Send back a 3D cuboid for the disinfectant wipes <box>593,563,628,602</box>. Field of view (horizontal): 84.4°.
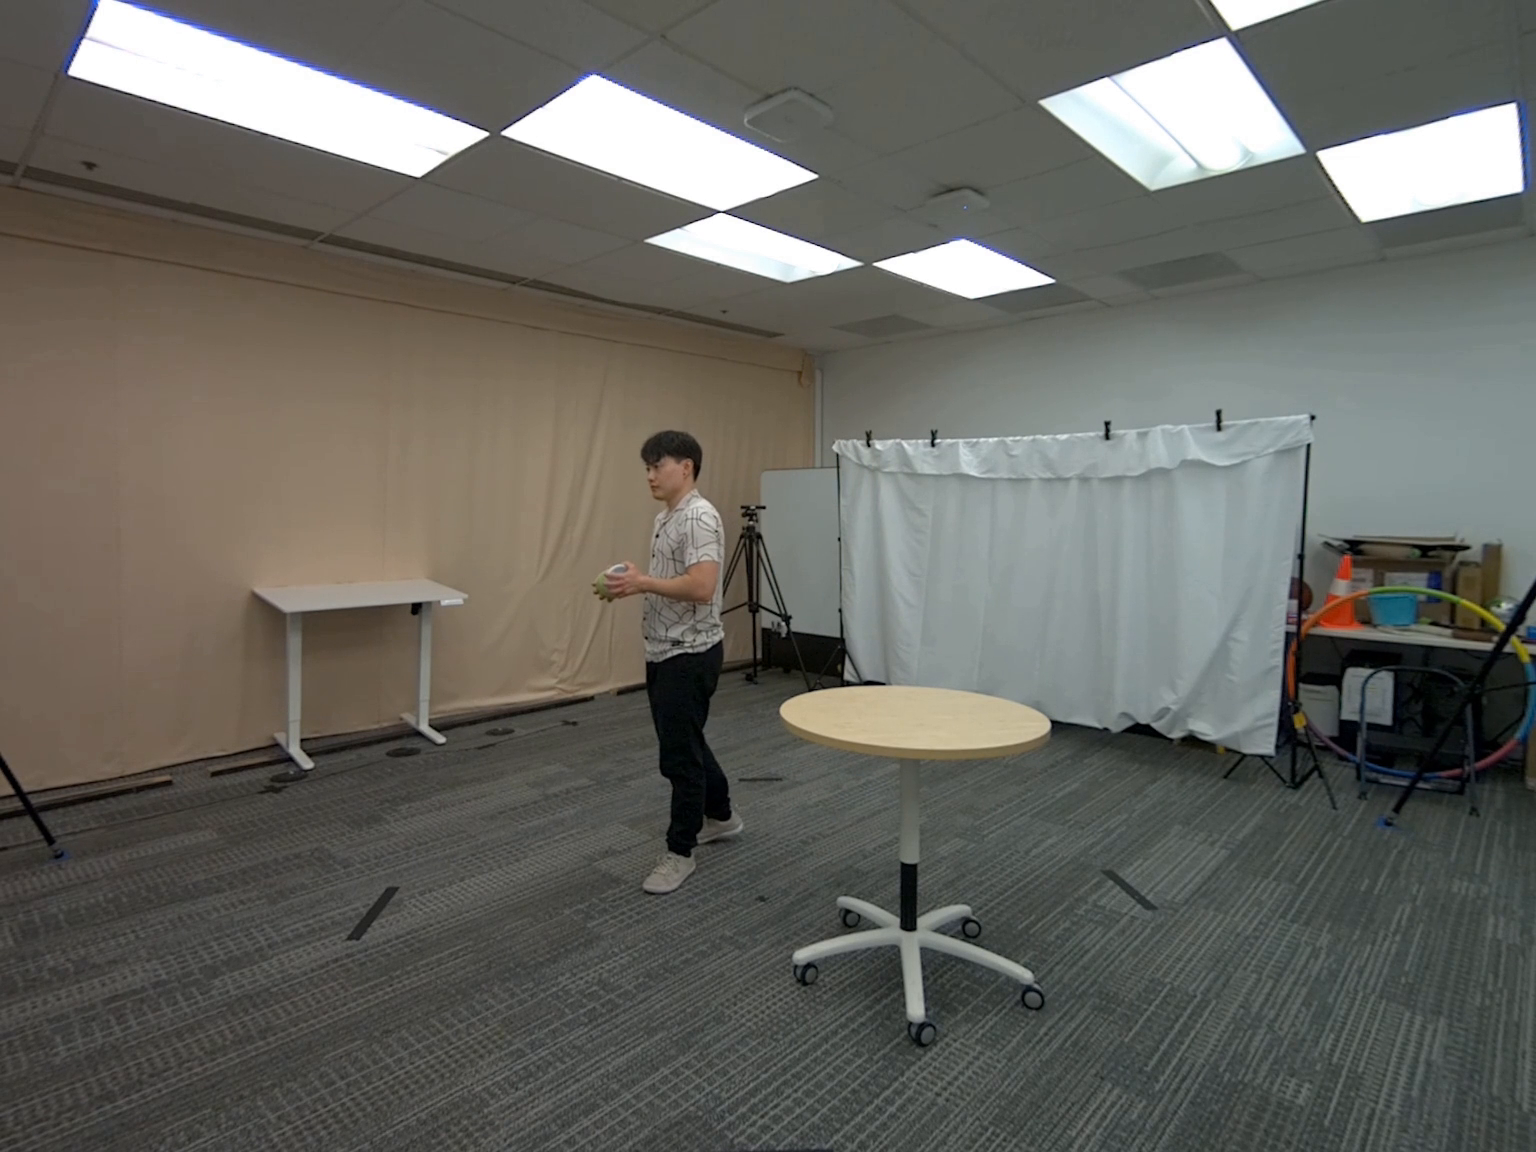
[{"bbox_3d":[-0.575,0.028,3.166,0.115,0.118,0.221,-1,-4,-22],"label":"disinfectant wipes"}]
